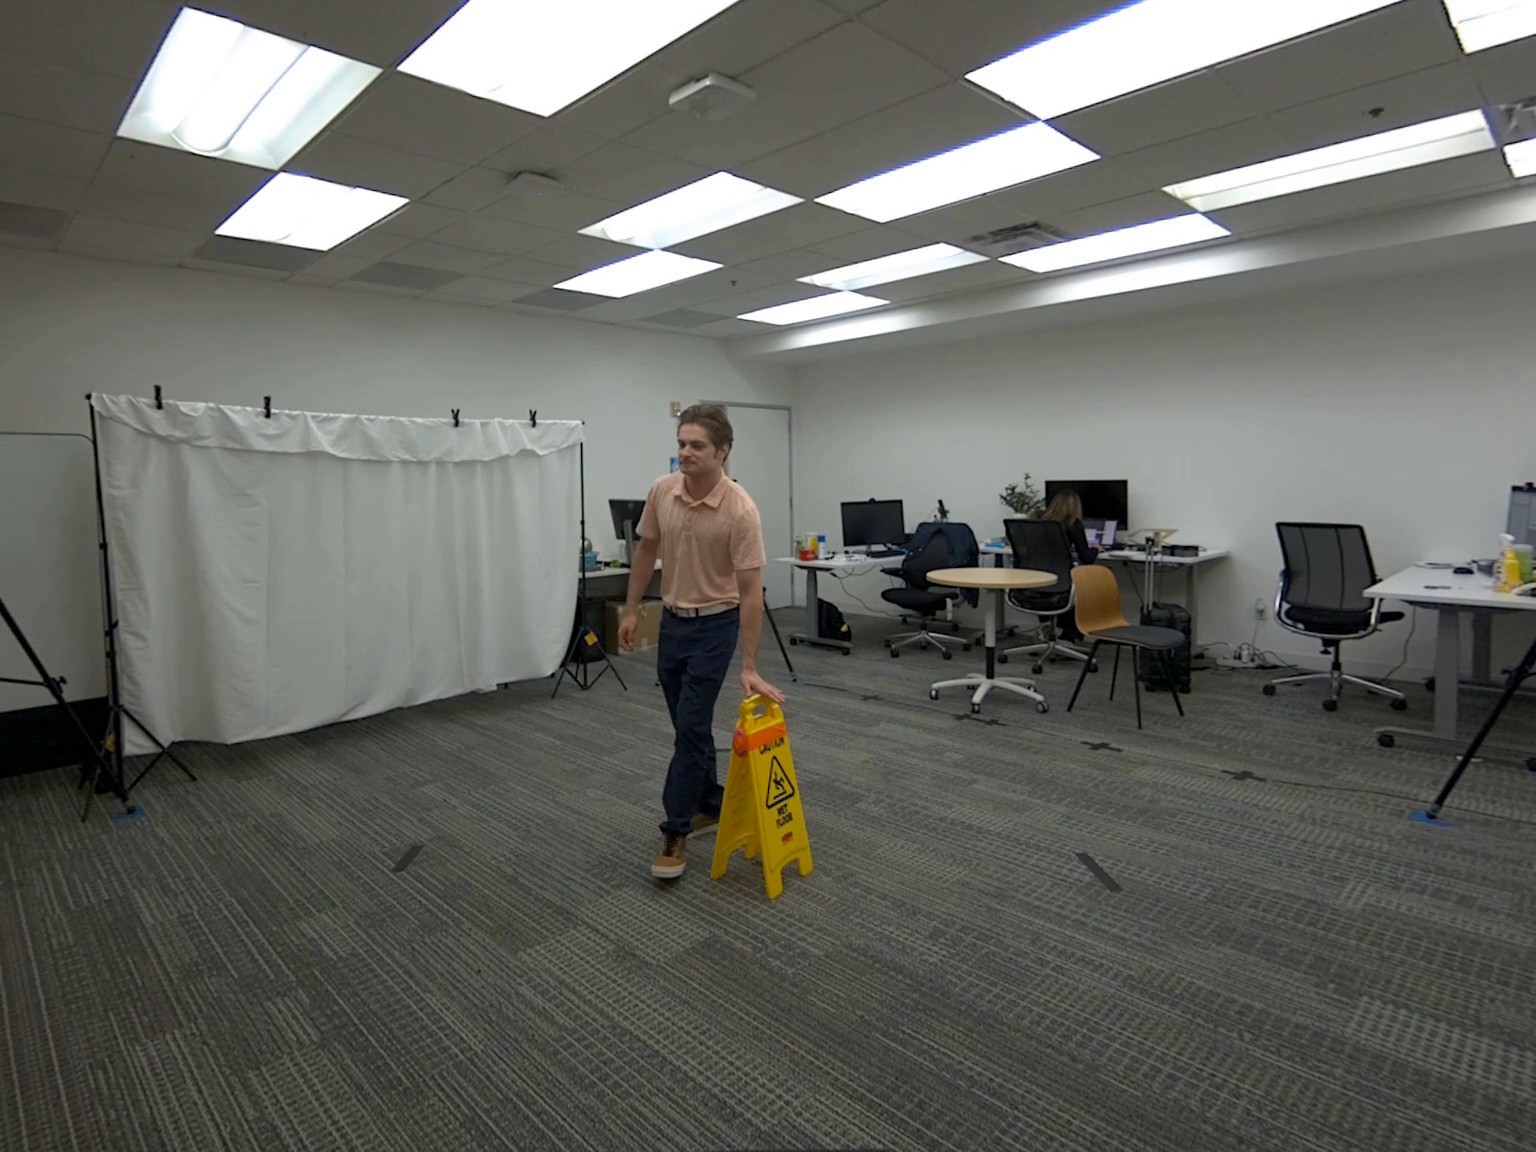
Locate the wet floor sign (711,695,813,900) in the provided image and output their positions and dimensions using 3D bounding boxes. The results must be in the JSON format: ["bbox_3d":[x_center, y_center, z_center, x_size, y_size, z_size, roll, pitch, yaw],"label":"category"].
[{"bbox_3d":[-0.027,0.733,3.002,0.298,0.644,0.275,2,5,36],"label":"wet floor sign"}]
